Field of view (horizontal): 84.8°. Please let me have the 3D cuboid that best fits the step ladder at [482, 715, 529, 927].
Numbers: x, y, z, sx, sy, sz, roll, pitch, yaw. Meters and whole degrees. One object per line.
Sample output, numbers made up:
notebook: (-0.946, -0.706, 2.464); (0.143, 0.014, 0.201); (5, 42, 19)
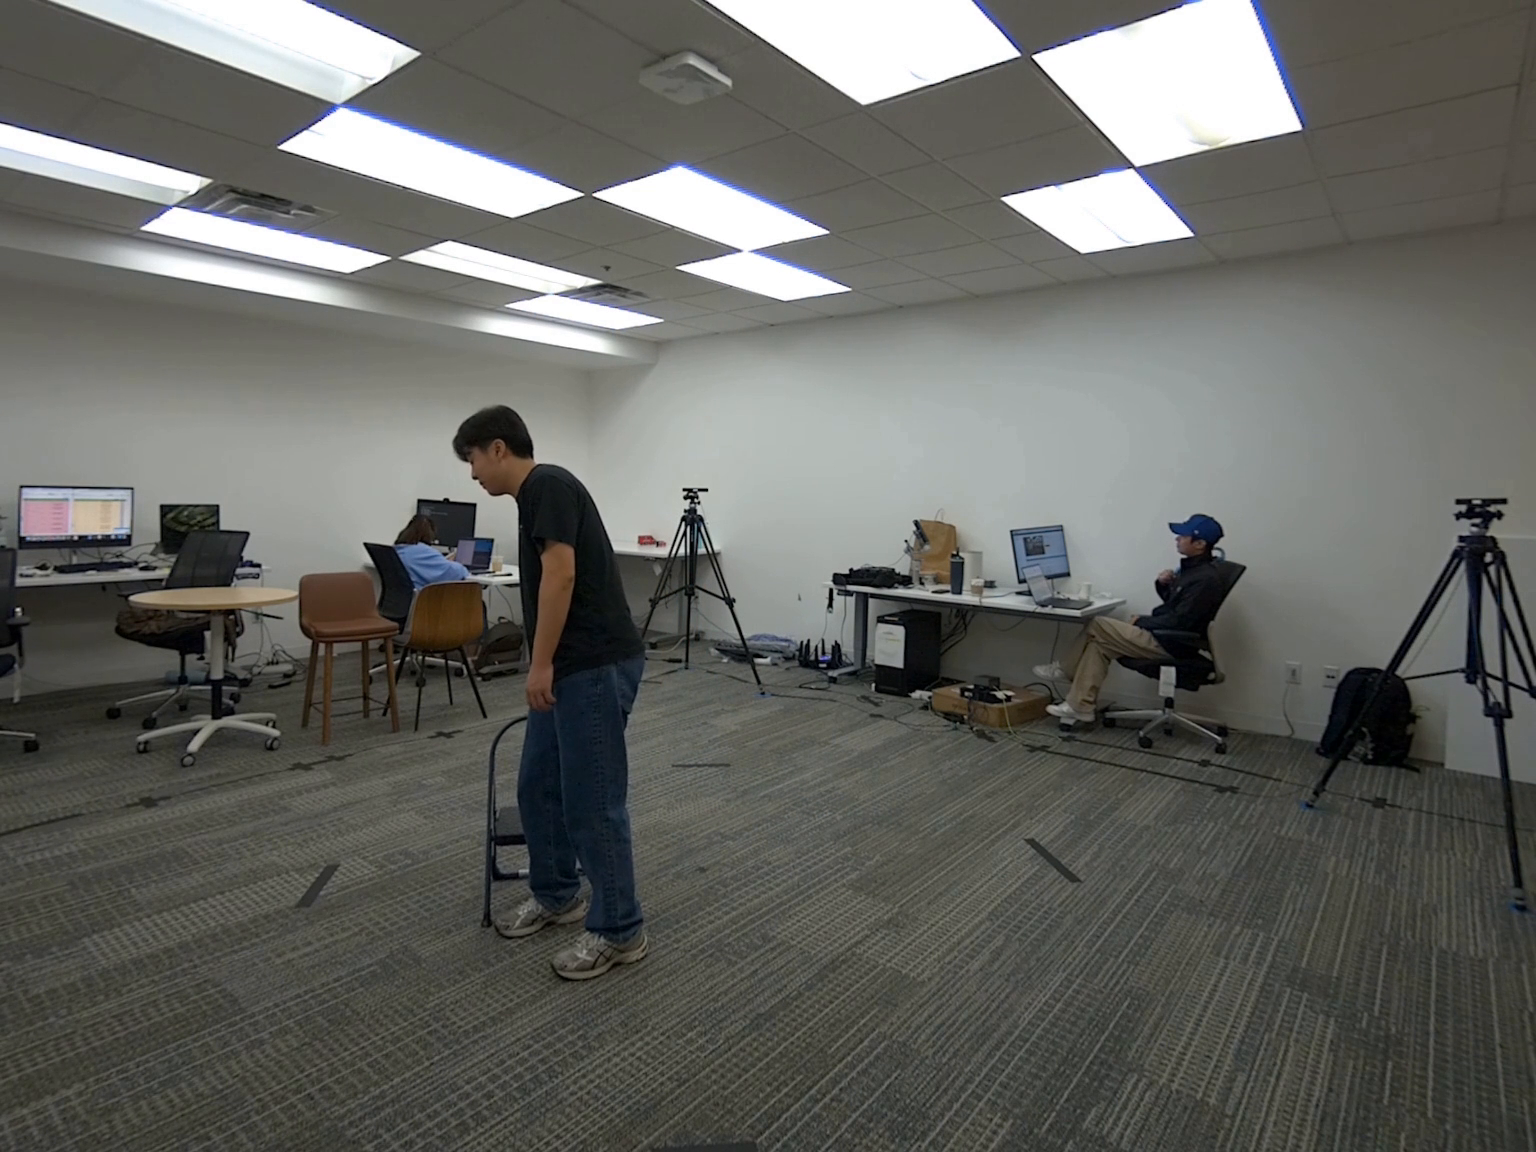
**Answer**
step ladder: (-0.745, 0.787, 2.869); (0.425, 0.604, 0.355); (0, 4, -14)
